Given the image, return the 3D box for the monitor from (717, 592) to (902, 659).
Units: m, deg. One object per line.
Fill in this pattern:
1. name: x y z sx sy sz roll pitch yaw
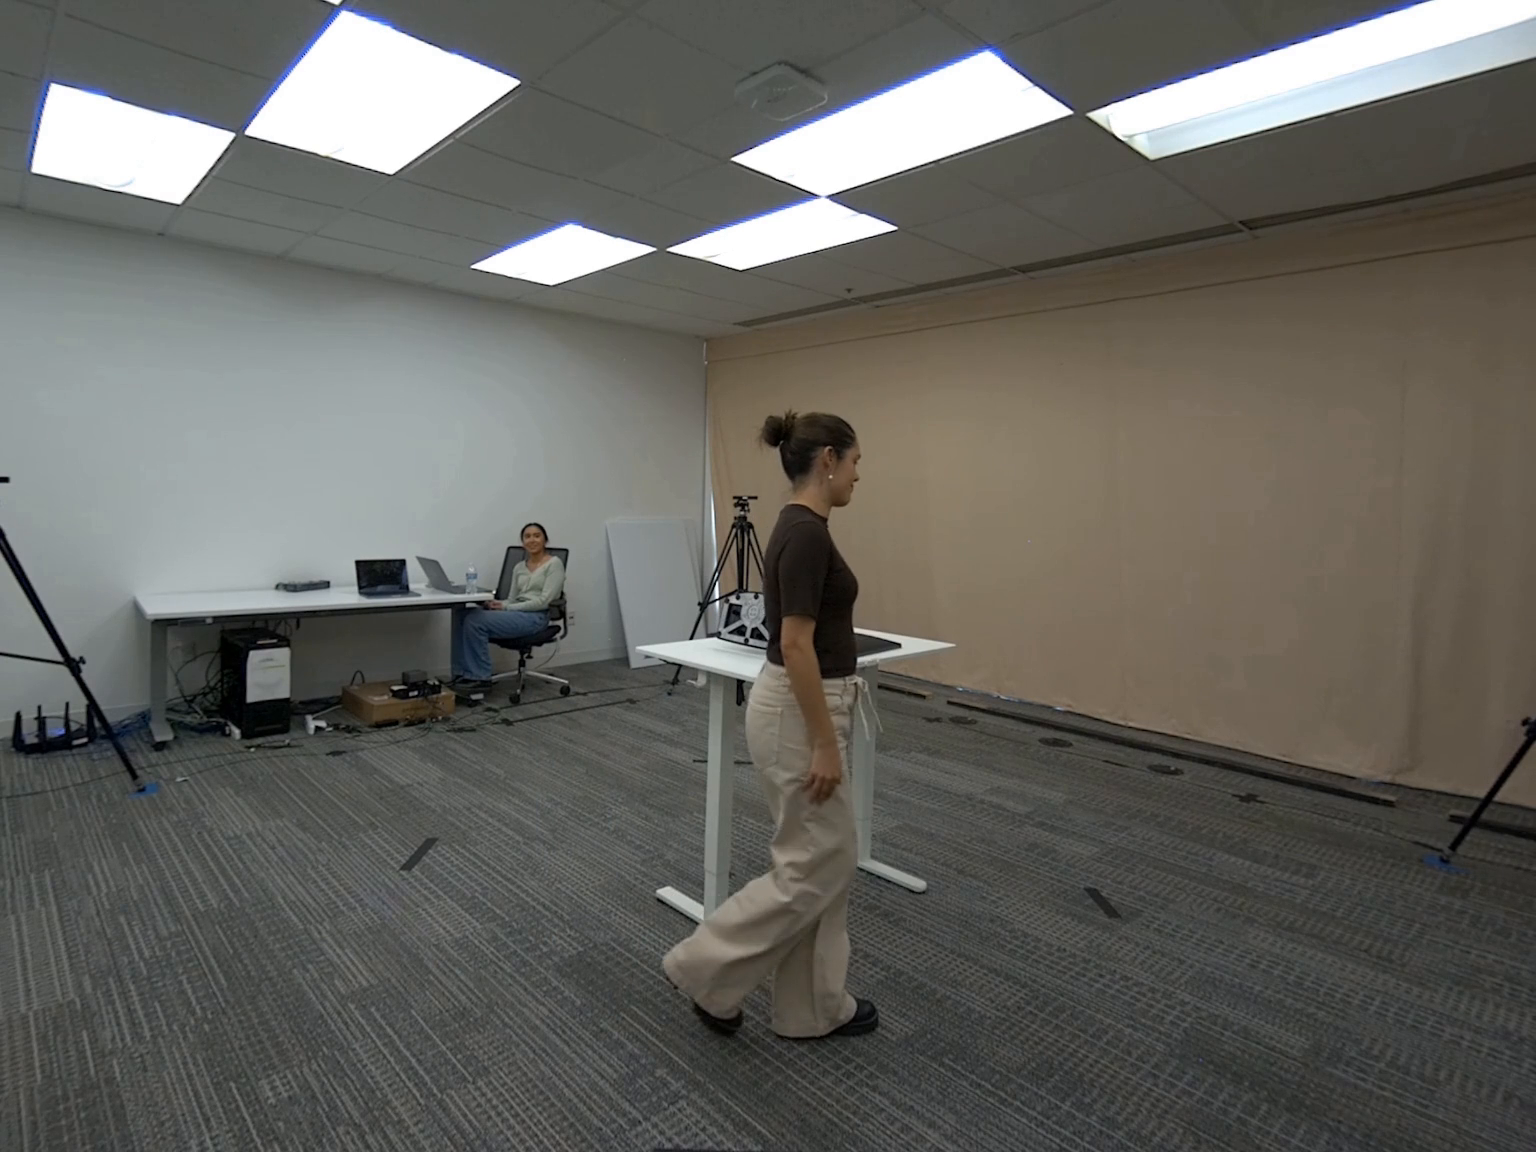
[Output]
1. monitor: 0.091 0.189 2.929 0.553 0.187 0.507 9 -5 42
